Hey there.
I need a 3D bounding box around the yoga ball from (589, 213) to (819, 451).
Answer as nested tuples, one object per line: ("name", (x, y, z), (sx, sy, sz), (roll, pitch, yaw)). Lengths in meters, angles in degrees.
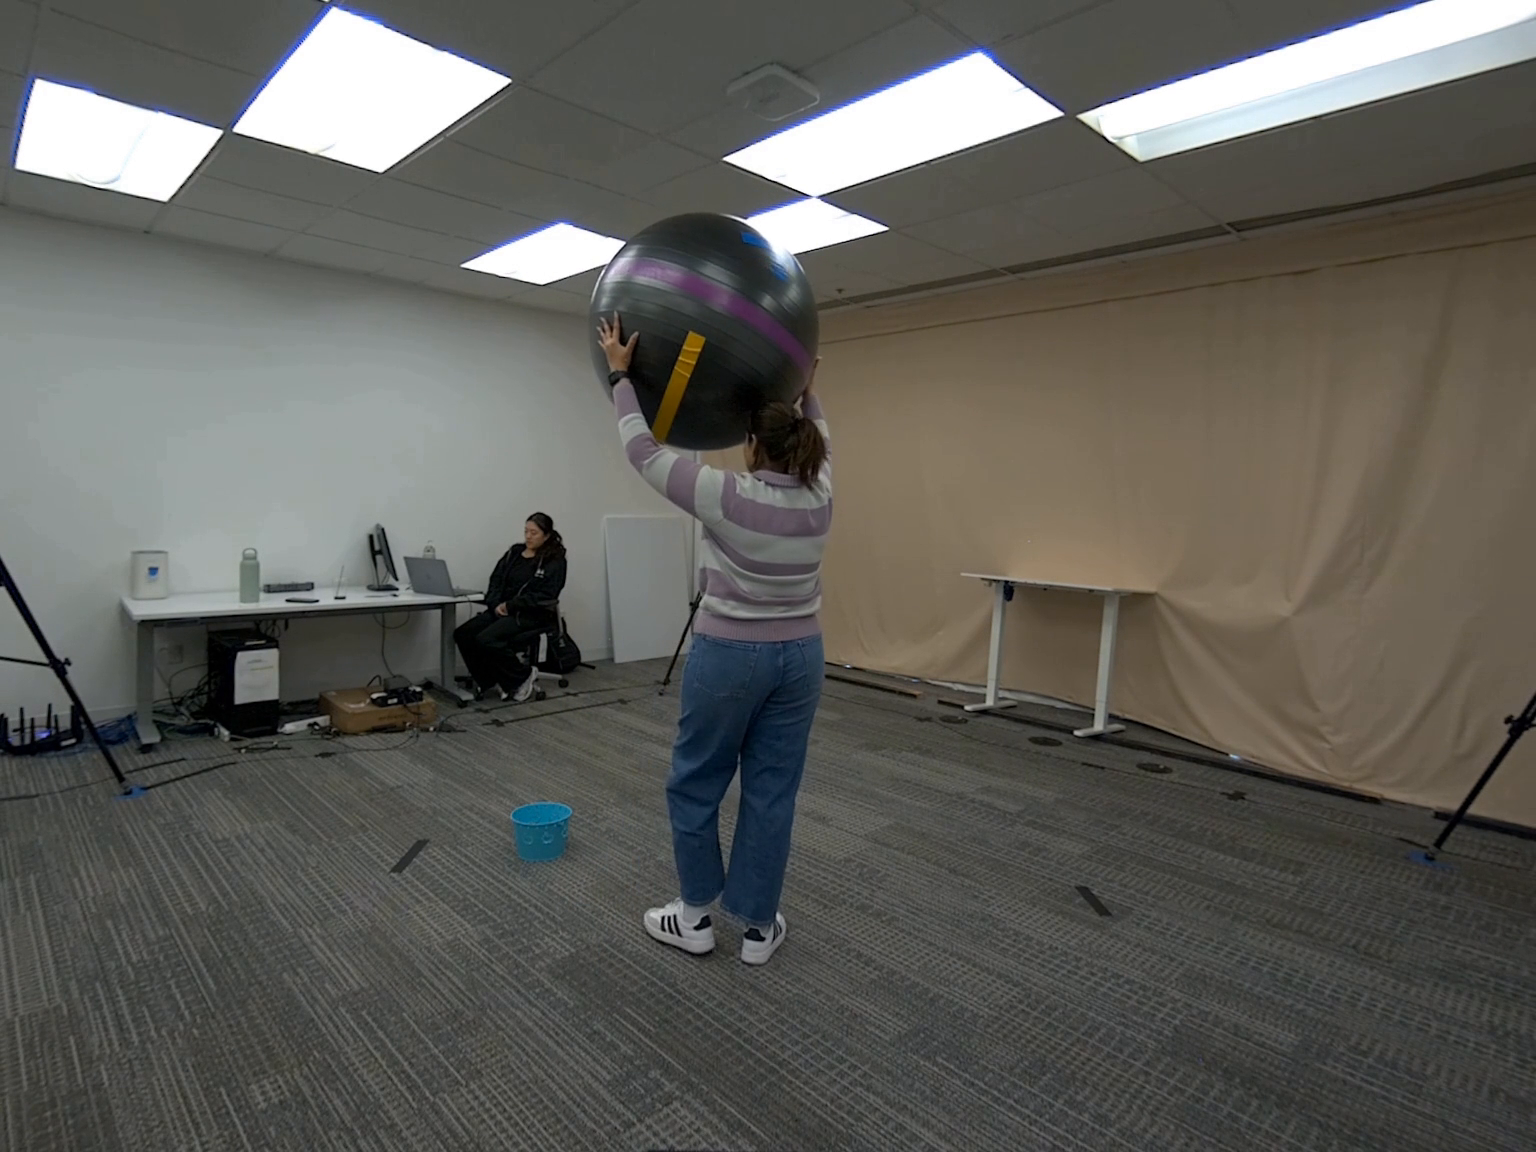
("yoga ball", (-0.218, -0.789, 2.778), (0.757, 0.756, 0.761), (1, 4, -1))
